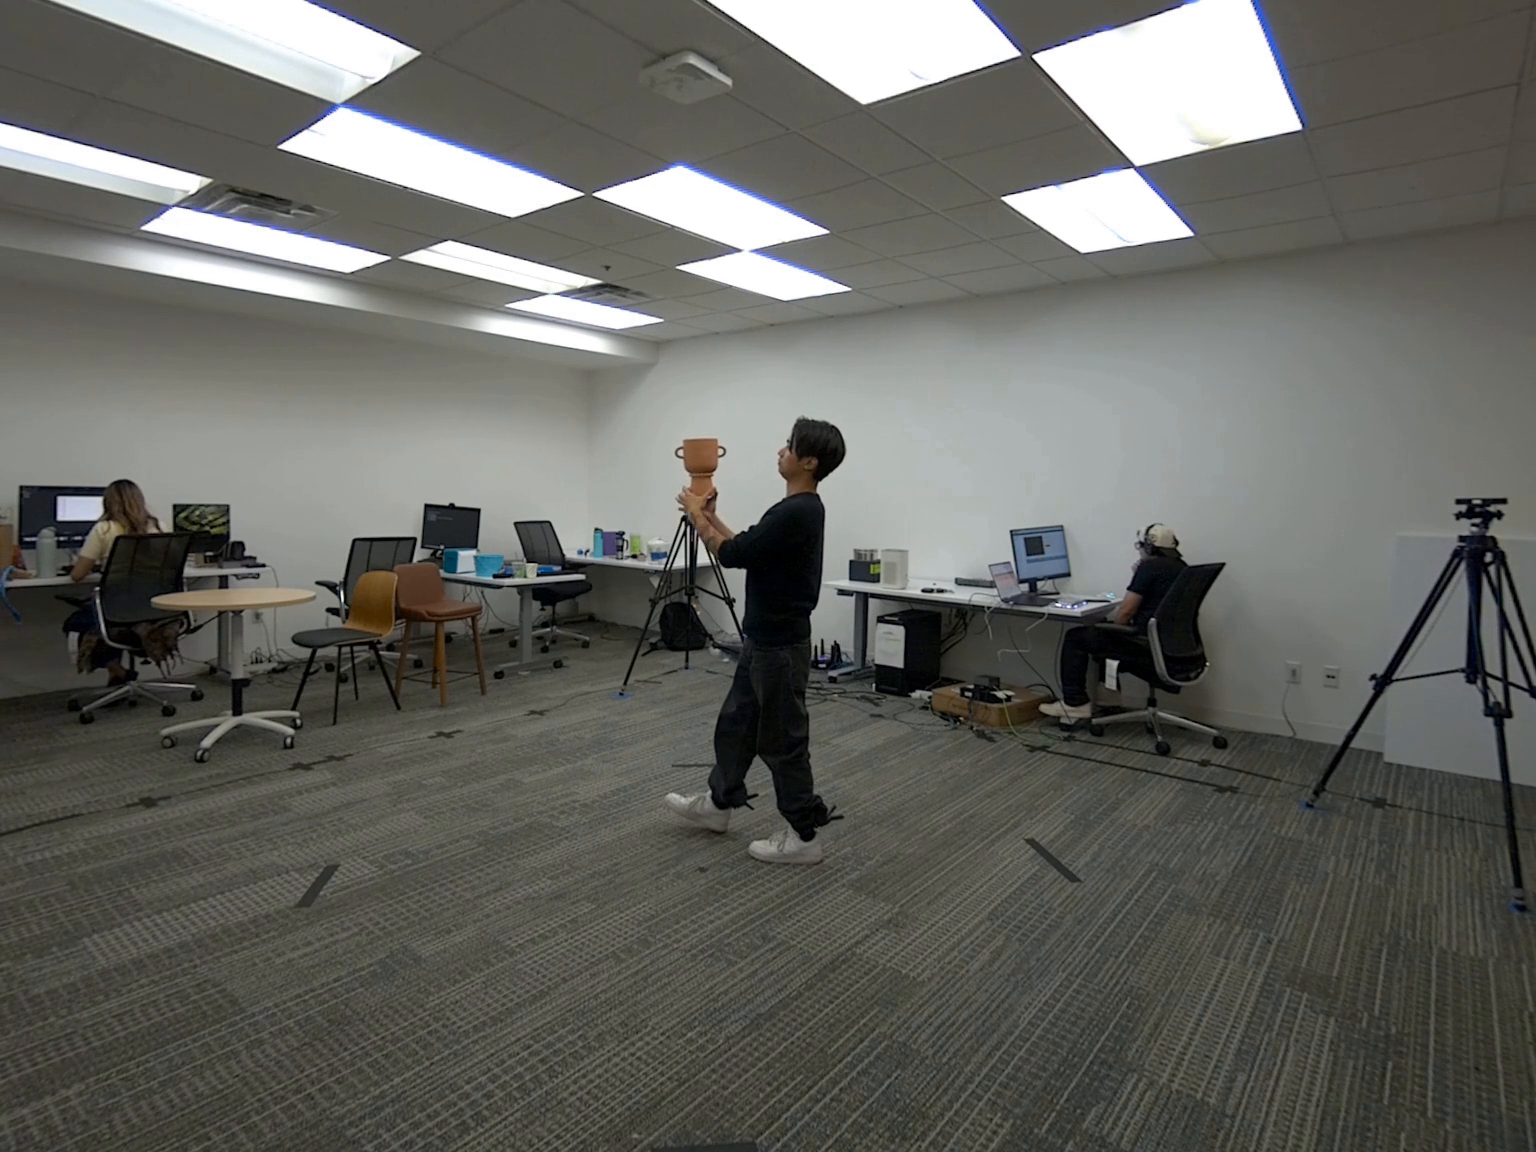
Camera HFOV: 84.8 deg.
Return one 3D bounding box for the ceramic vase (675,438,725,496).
[{"bbox_3d":[-0.269,-0.423,3.282,0.164,0.219,0.131,2,4,35],"label":"ceramic vase"}]
